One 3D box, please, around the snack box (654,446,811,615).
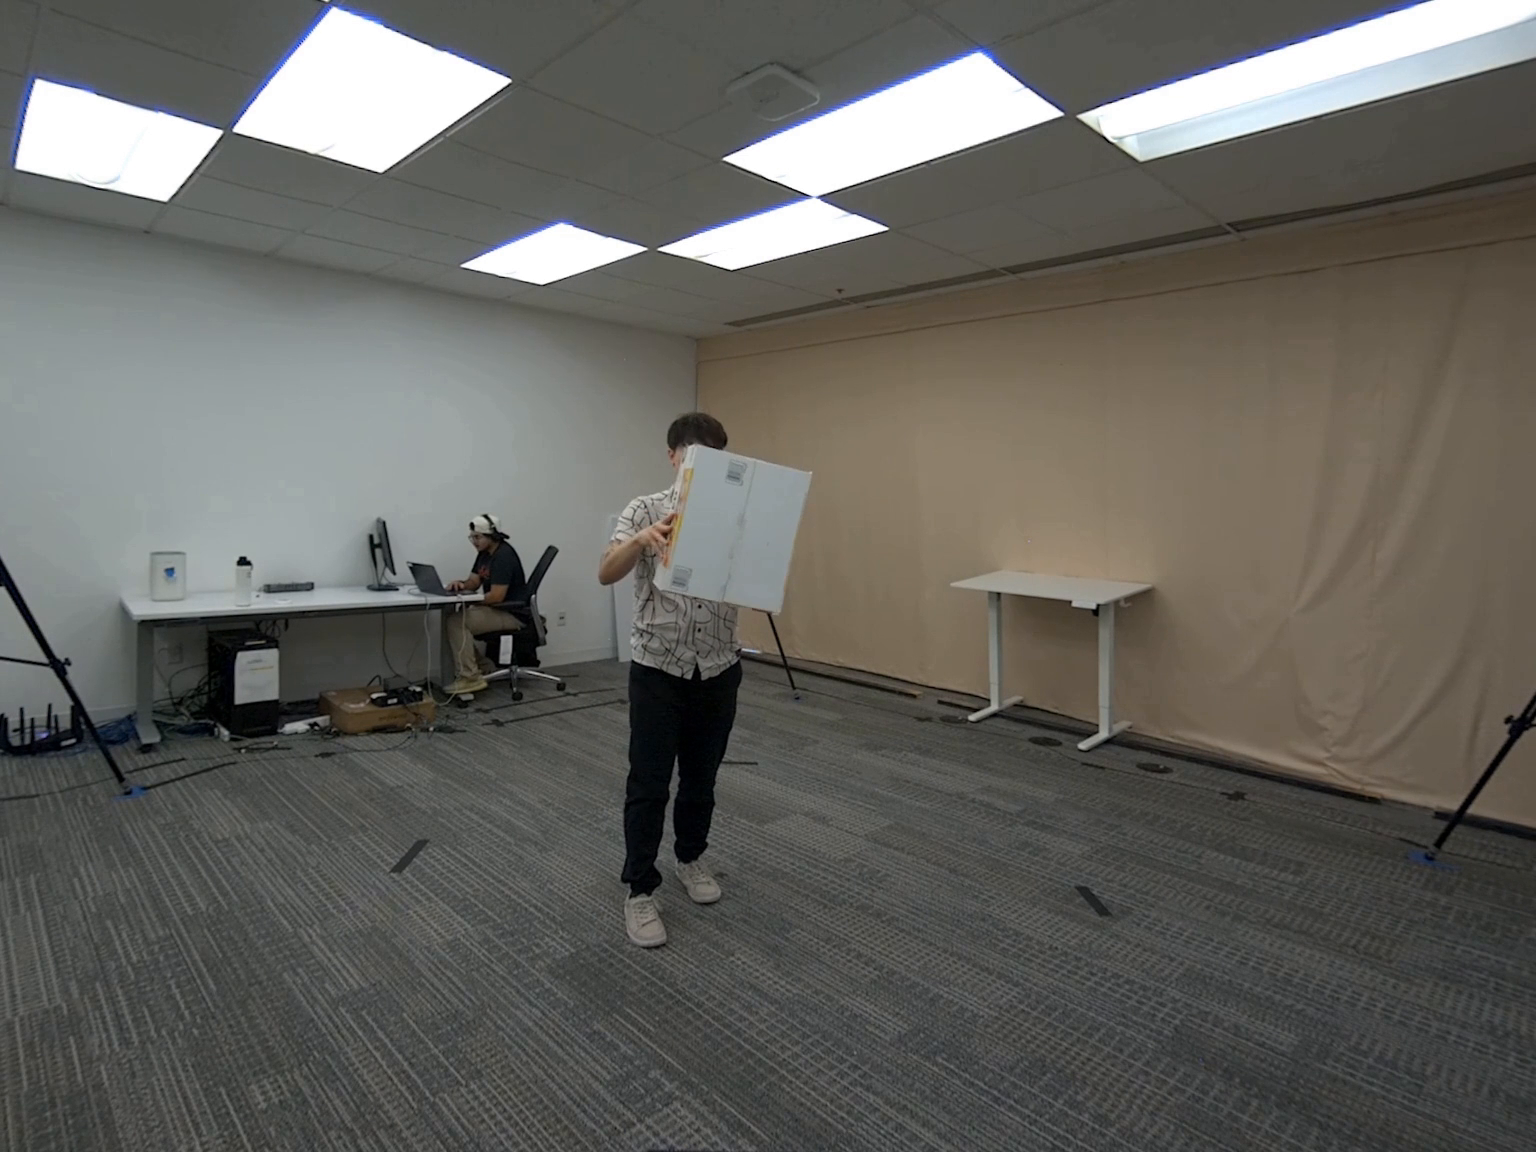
[{"bbox_3d":[-0.109,-0.132,2.366,0.336,0.405,0.208,12,2,-12],"label":"snack box"}]
